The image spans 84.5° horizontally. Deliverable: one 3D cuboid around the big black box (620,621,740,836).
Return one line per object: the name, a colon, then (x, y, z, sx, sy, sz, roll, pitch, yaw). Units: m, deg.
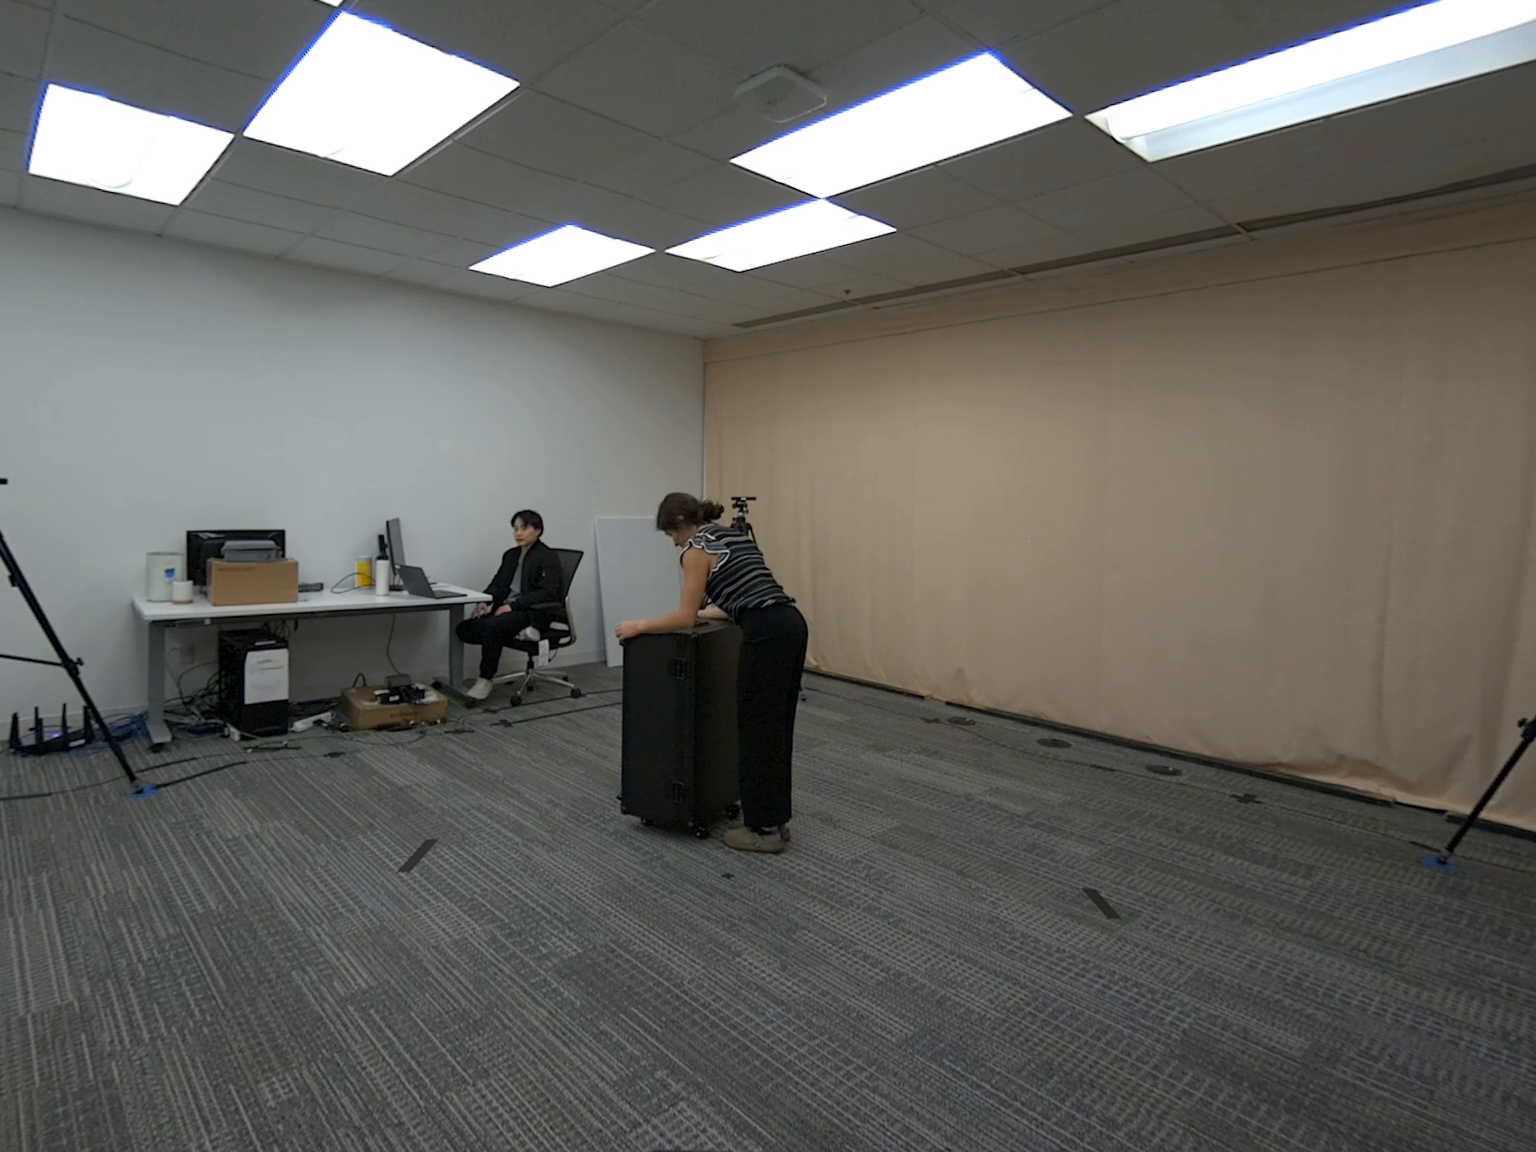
big black box: (-0.369, 0.643, 3.629, 0.404, 0.860, 0.512, 2, 3, 25)
